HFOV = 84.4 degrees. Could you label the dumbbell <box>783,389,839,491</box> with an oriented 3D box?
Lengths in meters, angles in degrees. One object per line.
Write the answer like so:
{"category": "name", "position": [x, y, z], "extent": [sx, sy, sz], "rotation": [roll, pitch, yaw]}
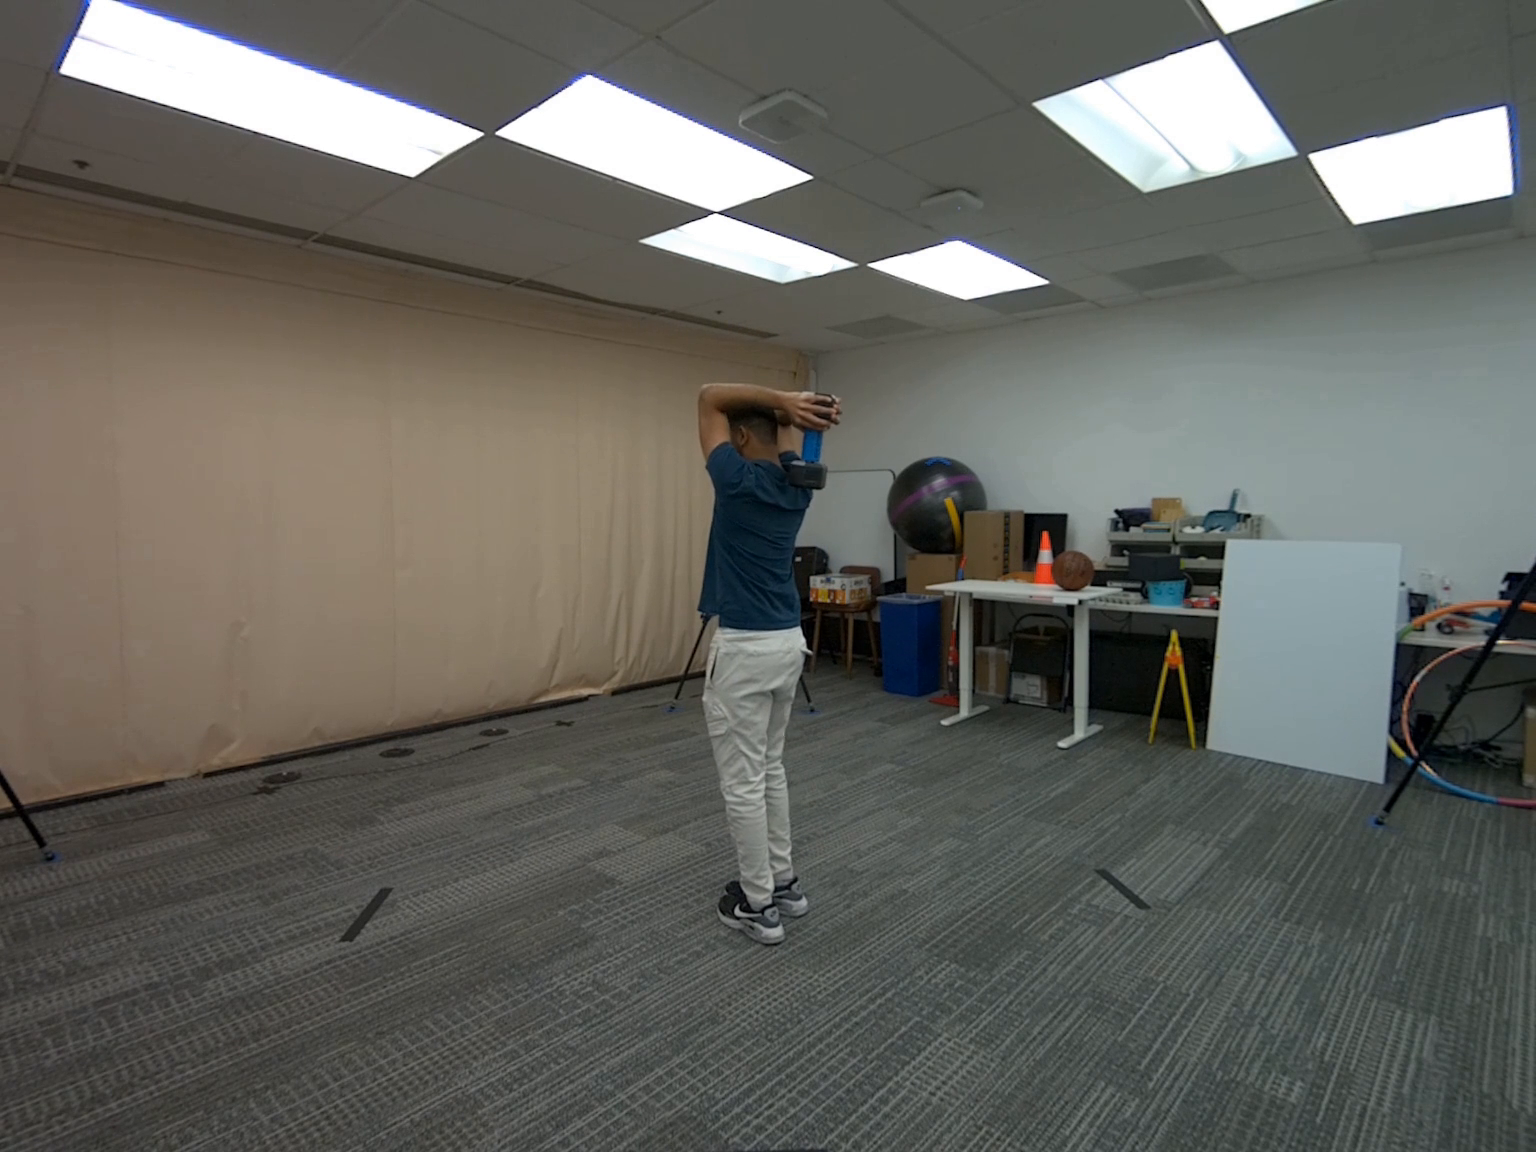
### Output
{"category": "dumbbell", "position": [0.120, -0.419, 2.591], "extent": [0.127, 0.292, 0.105], "rotation": [12, 13, 42]}
